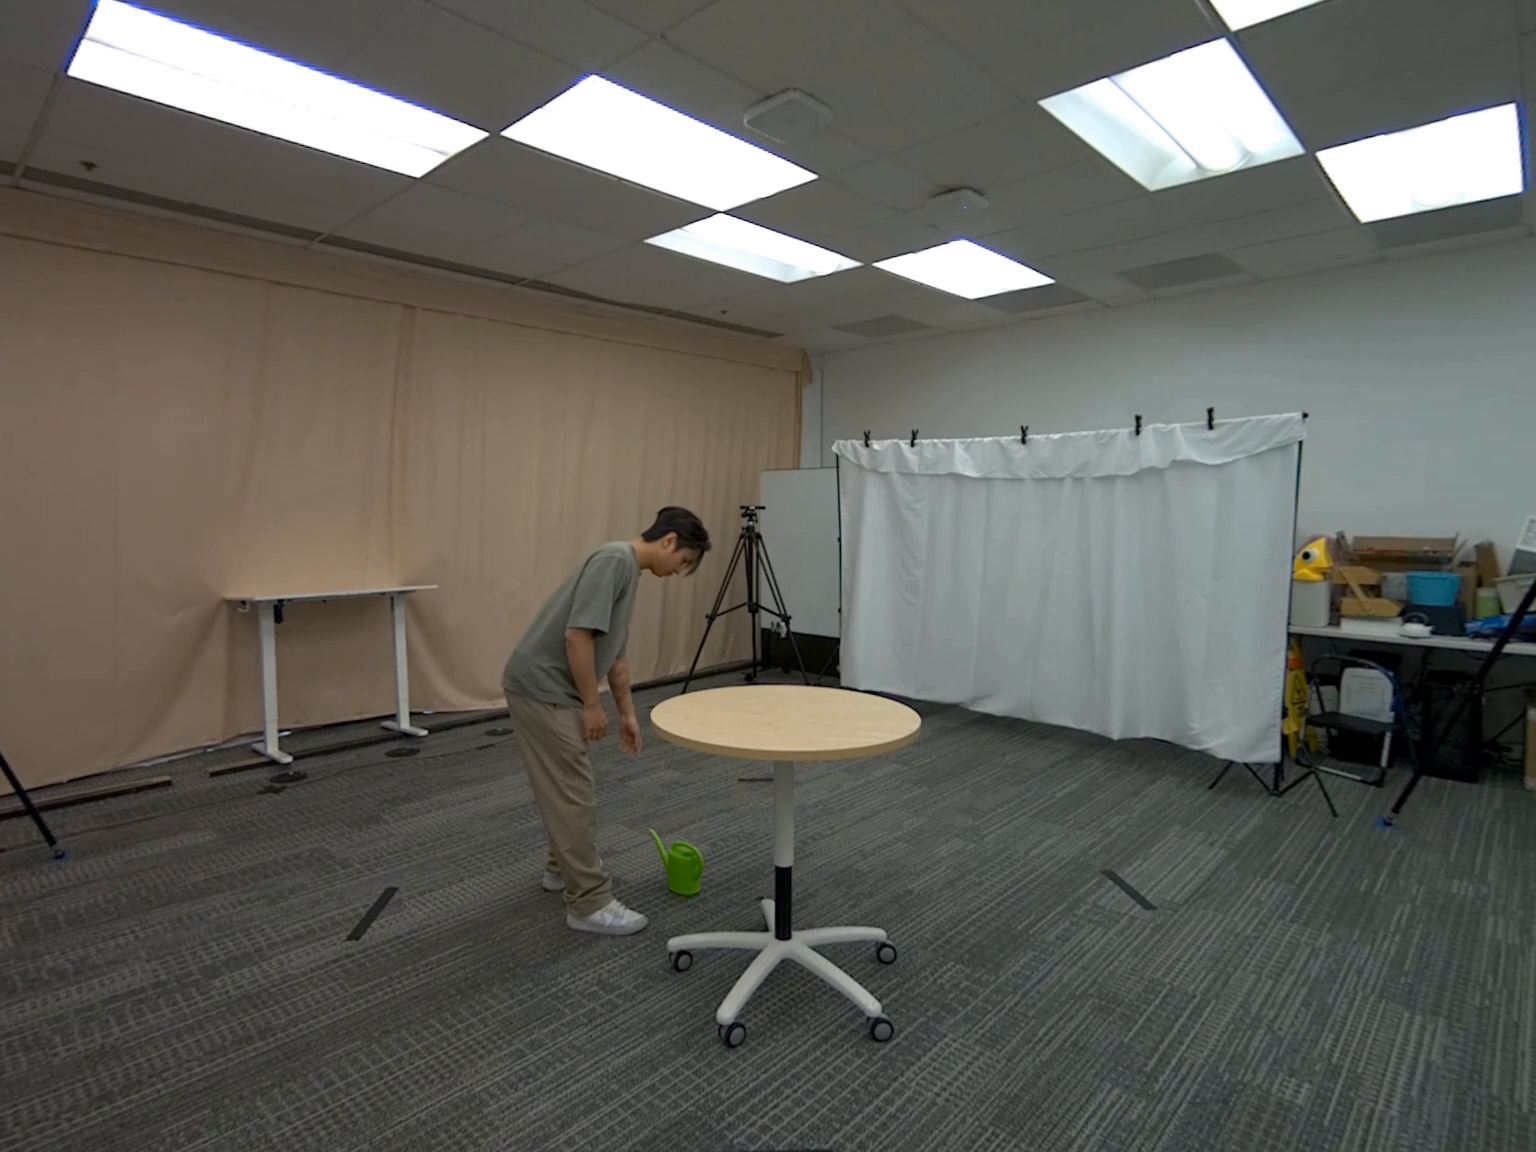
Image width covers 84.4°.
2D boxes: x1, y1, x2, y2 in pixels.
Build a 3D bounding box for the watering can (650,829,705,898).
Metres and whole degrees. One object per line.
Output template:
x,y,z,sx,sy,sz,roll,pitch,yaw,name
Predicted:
-0.327,1.044,3.081,0.095,0.176,0.287,-2,6,-38,watering can
